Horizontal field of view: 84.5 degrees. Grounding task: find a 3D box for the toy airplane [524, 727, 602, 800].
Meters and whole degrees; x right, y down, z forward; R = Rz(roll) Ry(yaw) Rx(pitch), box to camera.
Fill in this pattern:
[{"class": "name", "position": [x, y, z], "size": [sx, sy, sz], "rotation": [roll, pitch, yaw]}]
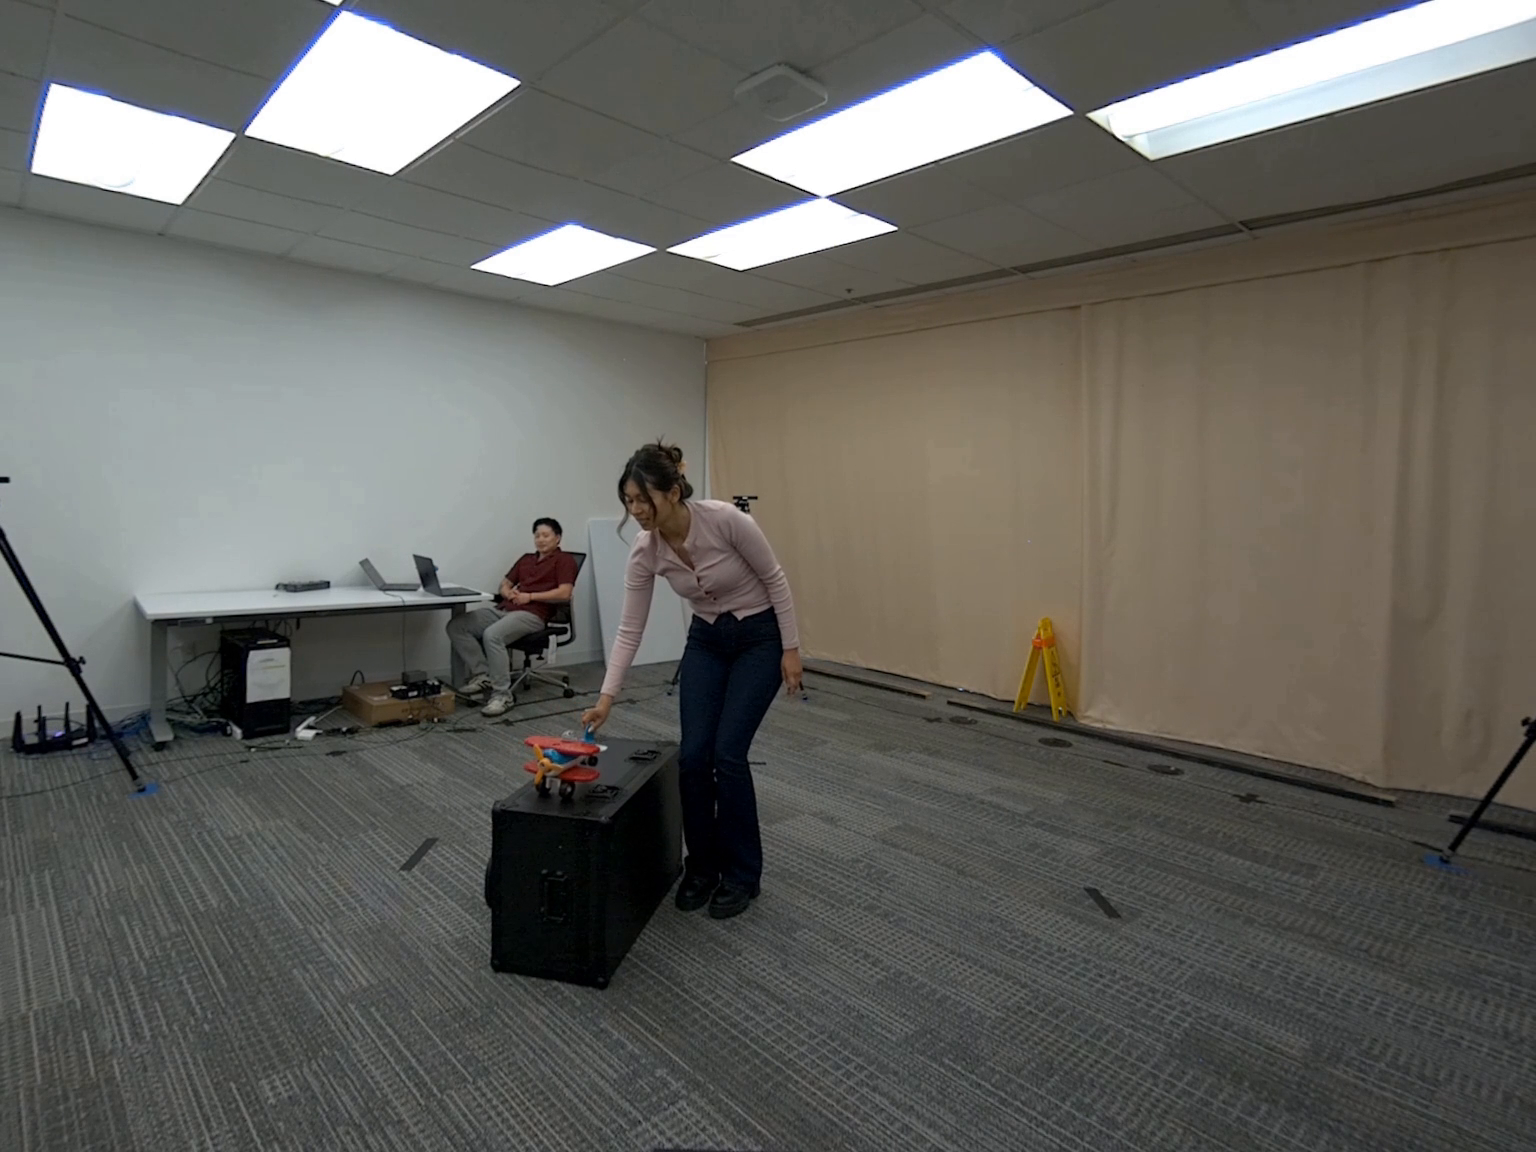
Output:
[{"class": "toy airplane", "position": [-0.637, 0.563, 2.593], "size": [0.250, 0.154, 0.263], "rotation": [-5, 18, -3]}]
